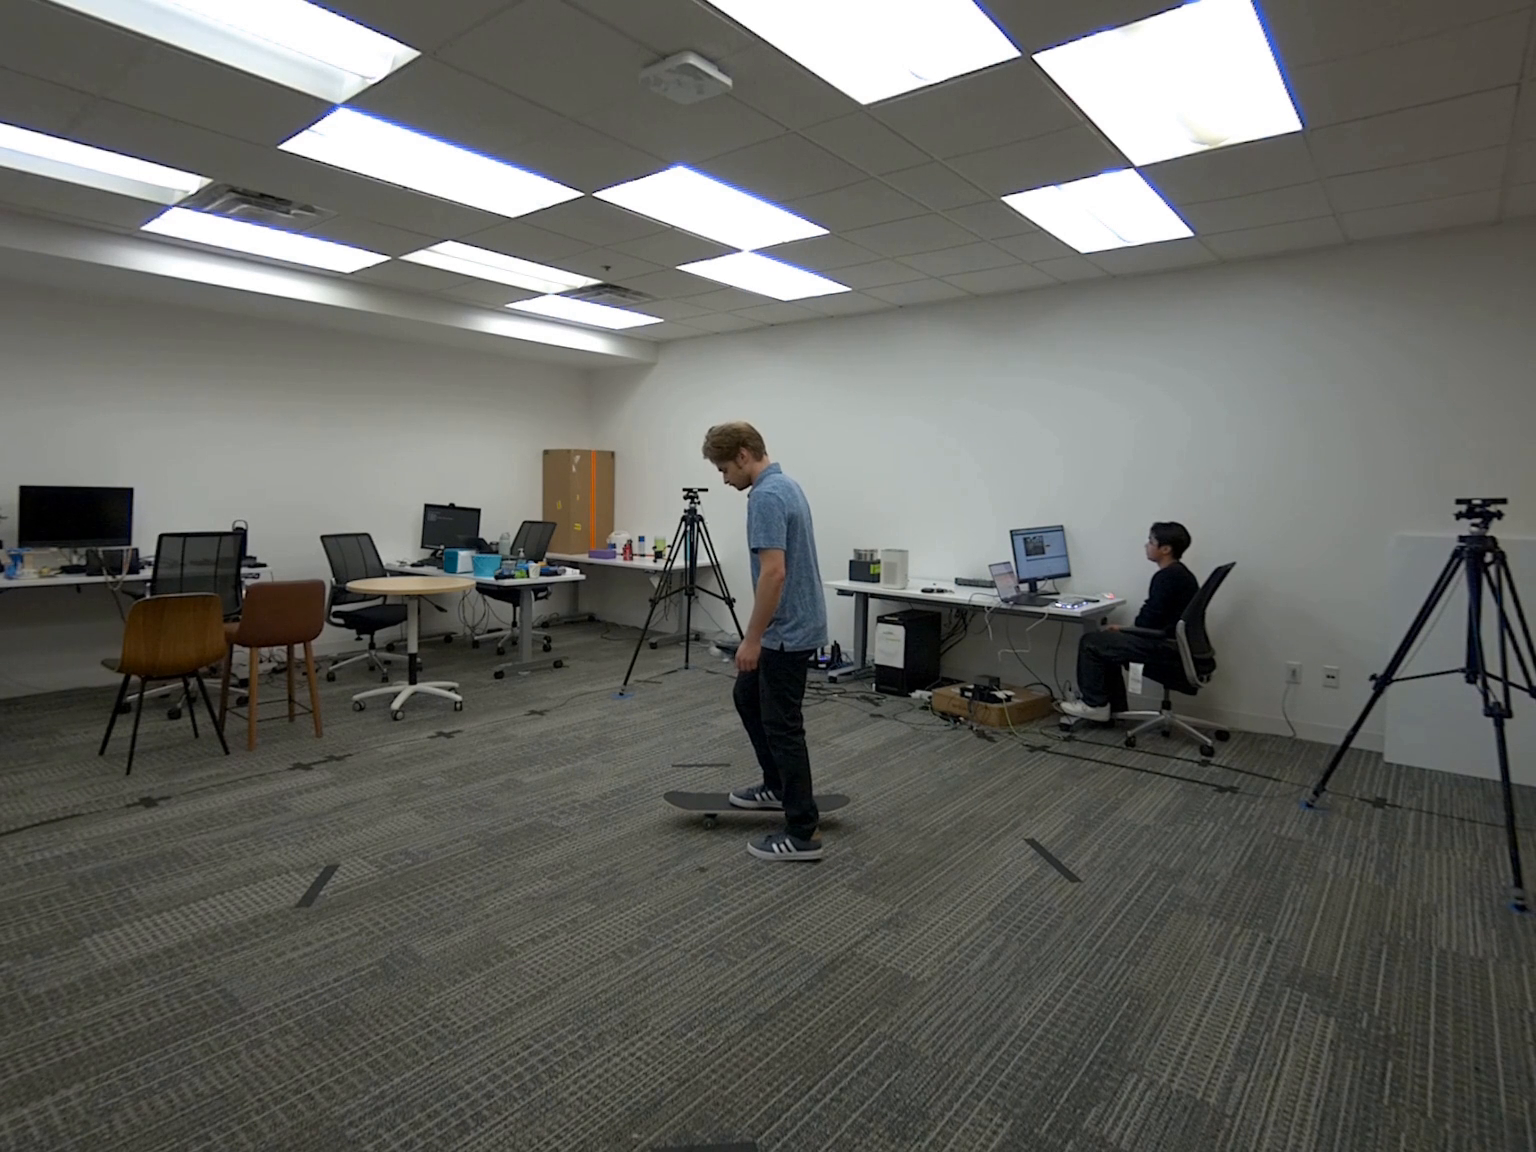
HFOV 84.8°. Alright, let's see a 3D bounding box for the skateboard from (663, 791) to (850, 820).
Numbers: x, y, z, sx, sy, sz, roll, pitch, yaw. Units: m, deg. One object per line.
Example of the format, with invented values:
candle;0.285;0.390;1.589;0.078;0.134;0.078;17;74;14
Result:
skateboard;-0.059;0.969;3.550;0.784;0.110;0.195;1;7;-1
